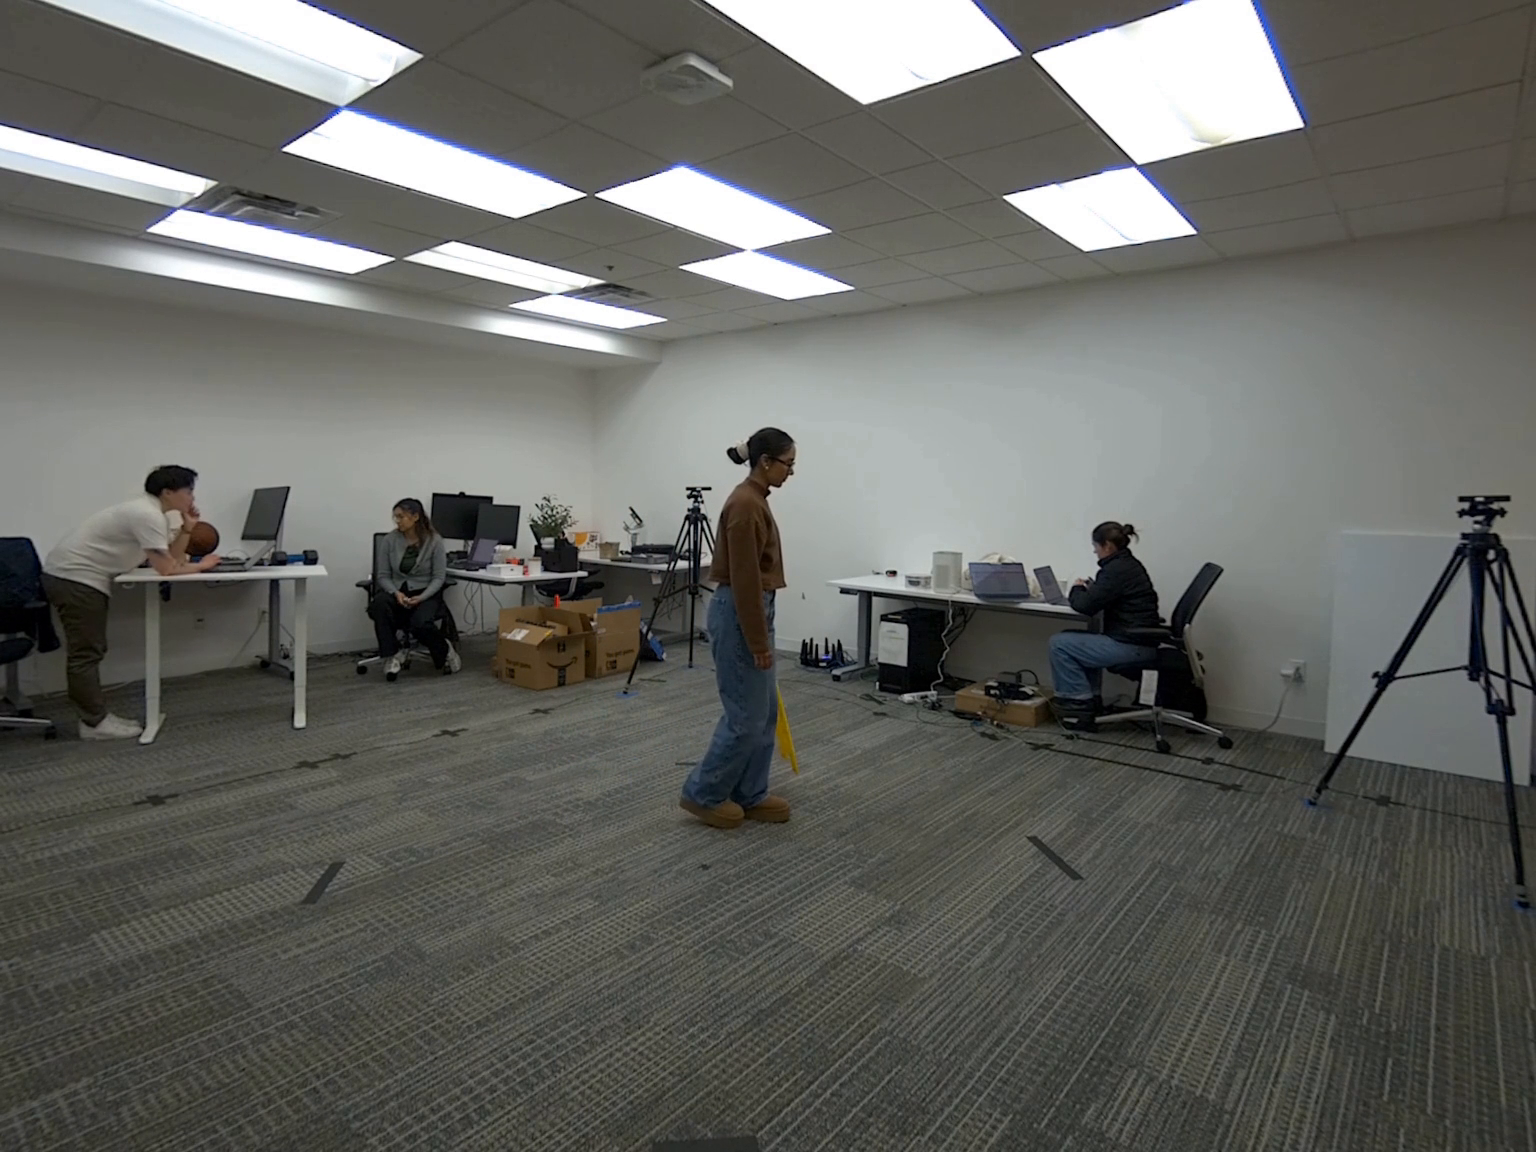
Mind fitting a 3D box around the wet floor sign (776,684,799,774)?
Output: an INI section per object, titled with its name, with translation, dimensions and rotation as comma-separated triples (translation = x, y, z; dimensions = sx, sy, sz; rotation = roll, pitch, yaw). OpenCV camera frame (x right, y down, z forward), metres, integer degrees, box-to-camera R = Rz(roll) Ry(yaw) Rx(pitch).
[wet floor sign]
translation = -0.049, 0.558, 3.900
dimensions = 0.287, 0.644, 0.286
rotation = -3, 3, -11
